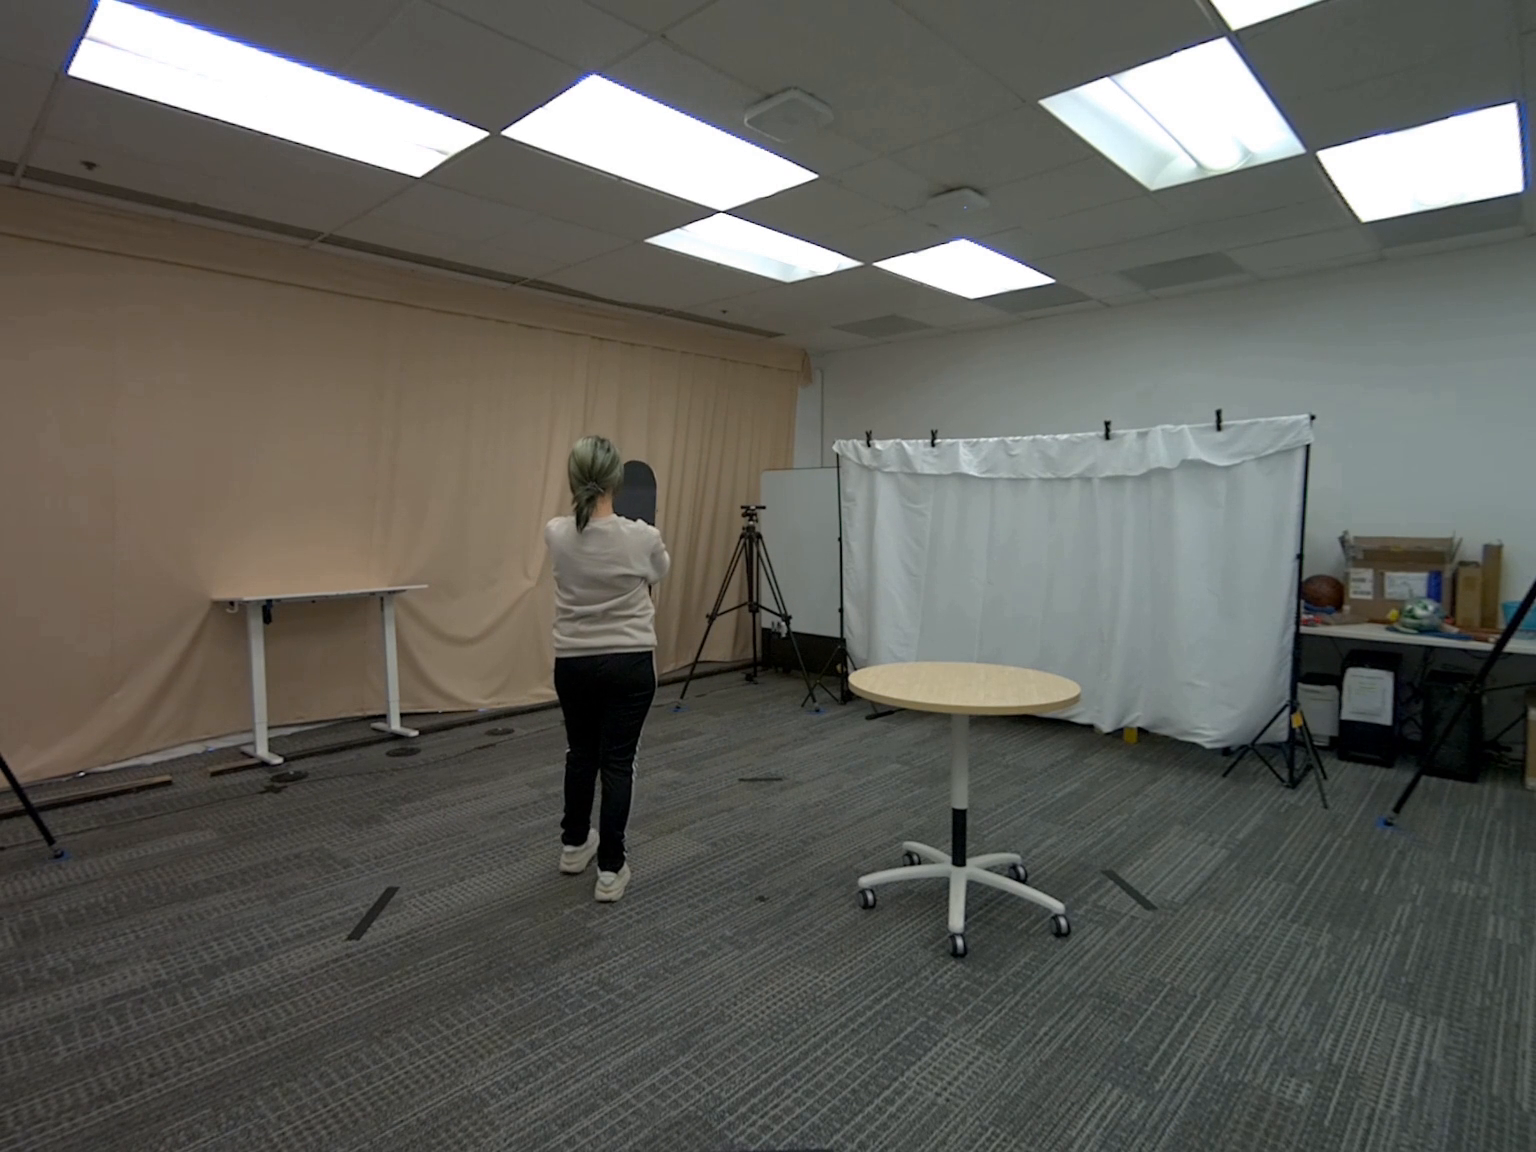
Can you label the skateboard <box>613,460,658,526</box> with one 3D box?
[{"bbox_3d":[-0.574,-0.101,3.532,0.193,0.793,0.109,-1,-16,-1],"label":"skateboard"}]
